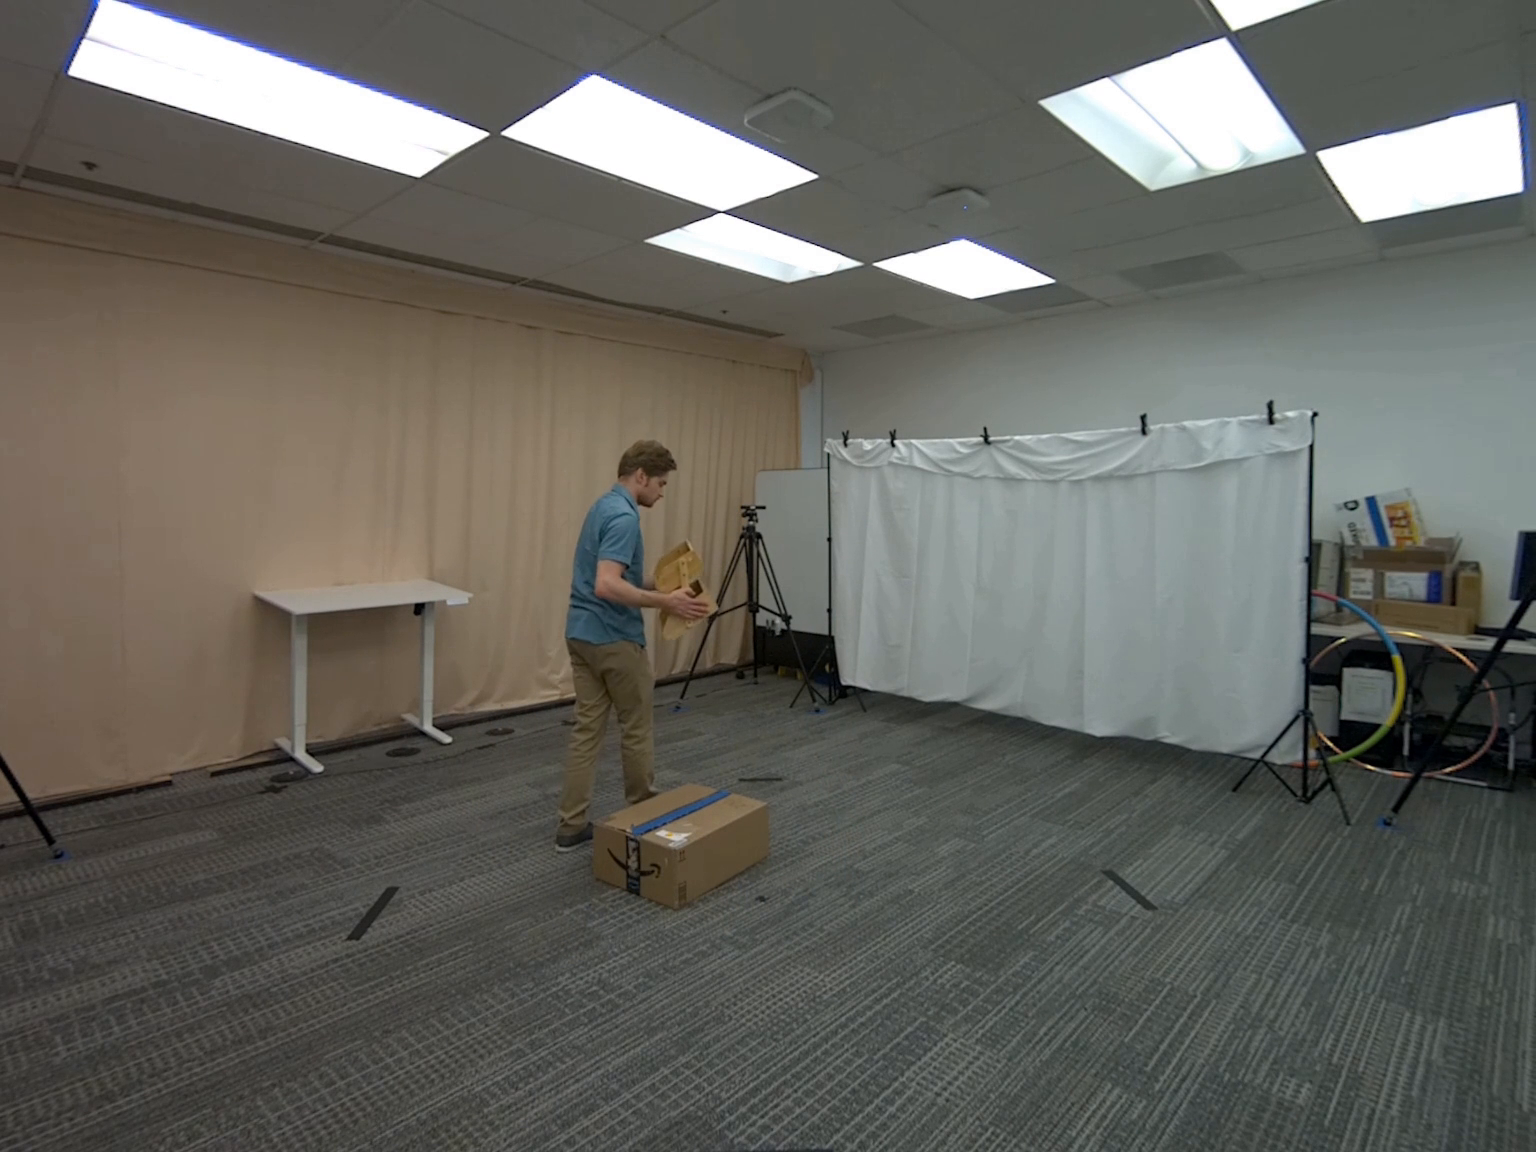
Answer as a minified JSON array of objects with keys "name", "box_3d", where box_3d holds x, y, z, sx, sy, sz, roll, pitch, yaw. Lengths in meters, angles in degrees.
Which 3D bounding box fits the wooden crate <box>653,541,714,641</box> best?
[{"name":"wooden crate","box_3d":[-0.374,0.053,3.487,0.302,0.270,0.329,-34,12,-2]}]
